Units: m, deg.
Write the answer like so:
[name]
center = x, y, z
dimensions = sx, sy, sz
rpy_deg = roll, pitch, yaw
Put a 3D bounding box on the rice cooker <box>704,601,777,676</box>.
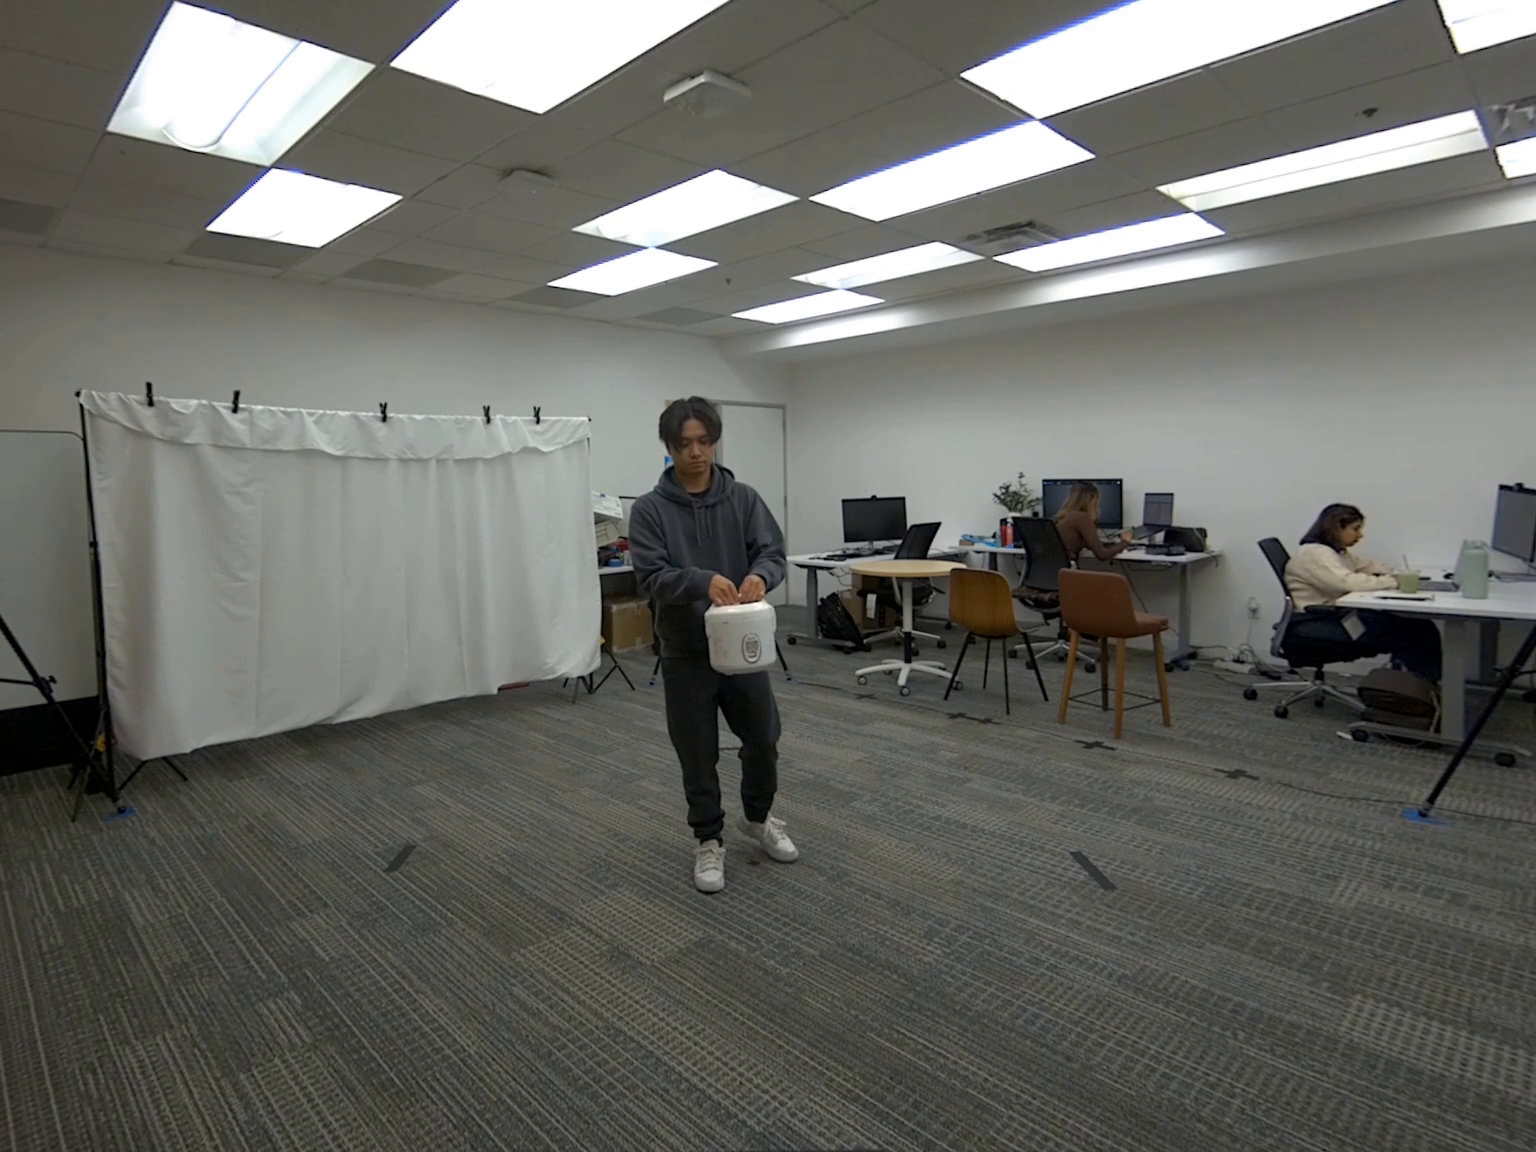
[rice cooker]
center = -0.082, 0.177, 2.630
dimensions = 0.218, 0.233, 0.220
rpy_deg = -6, 1, -14
